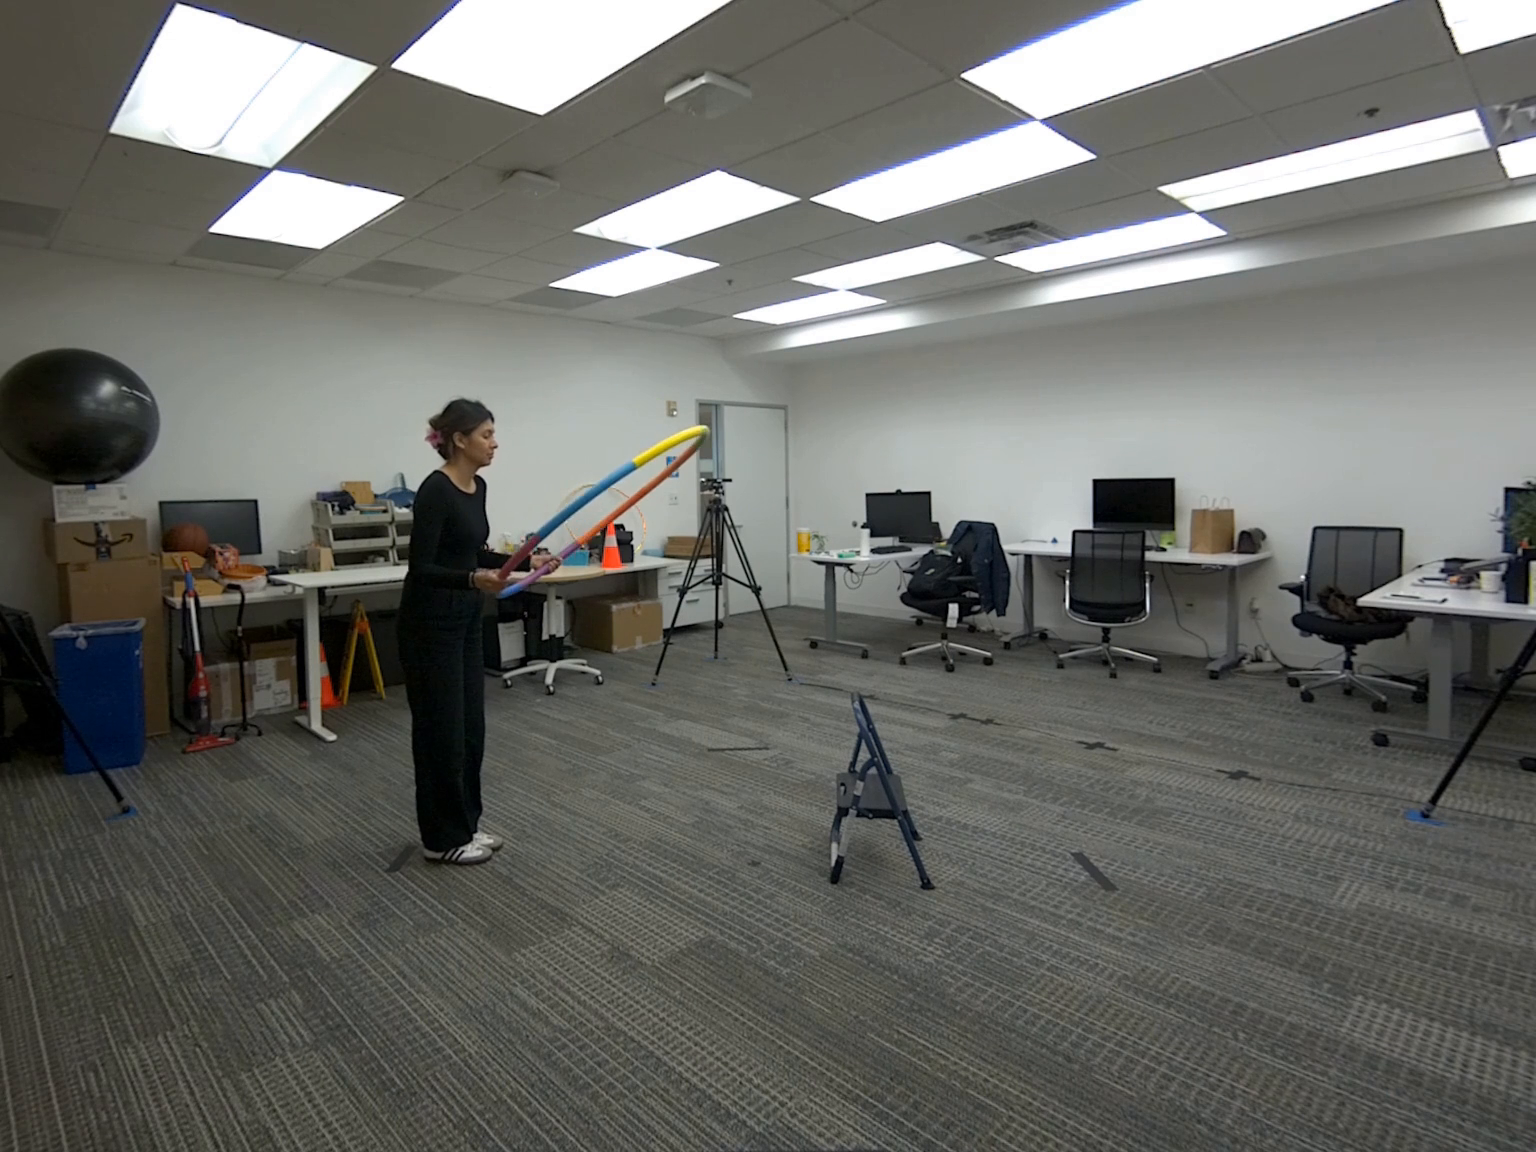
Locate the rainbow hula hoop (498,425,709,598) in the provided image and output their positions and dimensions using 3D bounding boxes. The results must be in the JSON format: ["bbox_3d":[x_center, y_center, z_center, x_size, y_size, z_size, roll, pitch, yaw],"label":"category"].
[{"bbox_3d":[-0.586,-0.239,3.117,0.978,0.035,0.980,-38,3,-1],"label":"rainbow hula hoop"}]
